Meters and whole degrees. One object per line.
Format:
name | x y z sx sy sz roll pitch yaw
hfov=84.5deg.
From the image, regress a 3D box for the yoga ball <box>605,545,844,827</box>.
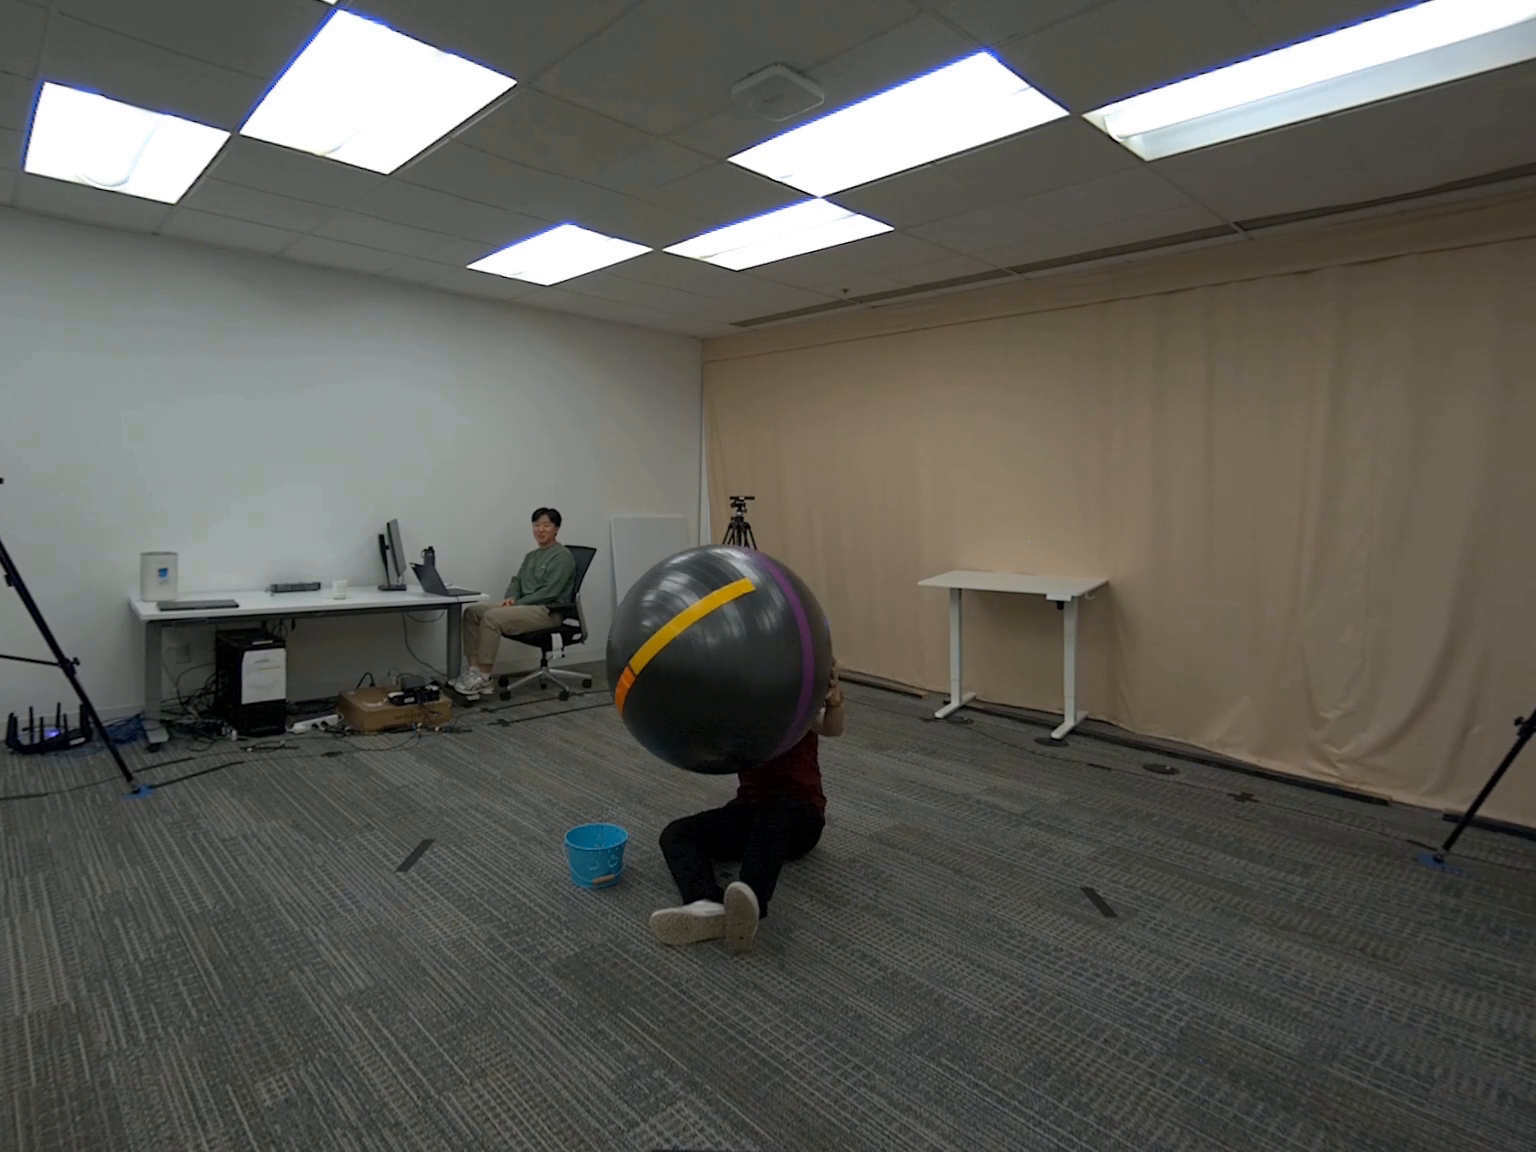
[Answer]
yoga ball | -0.160 0.282 2.817 0.757 0.756 0.761 1 4 -1
